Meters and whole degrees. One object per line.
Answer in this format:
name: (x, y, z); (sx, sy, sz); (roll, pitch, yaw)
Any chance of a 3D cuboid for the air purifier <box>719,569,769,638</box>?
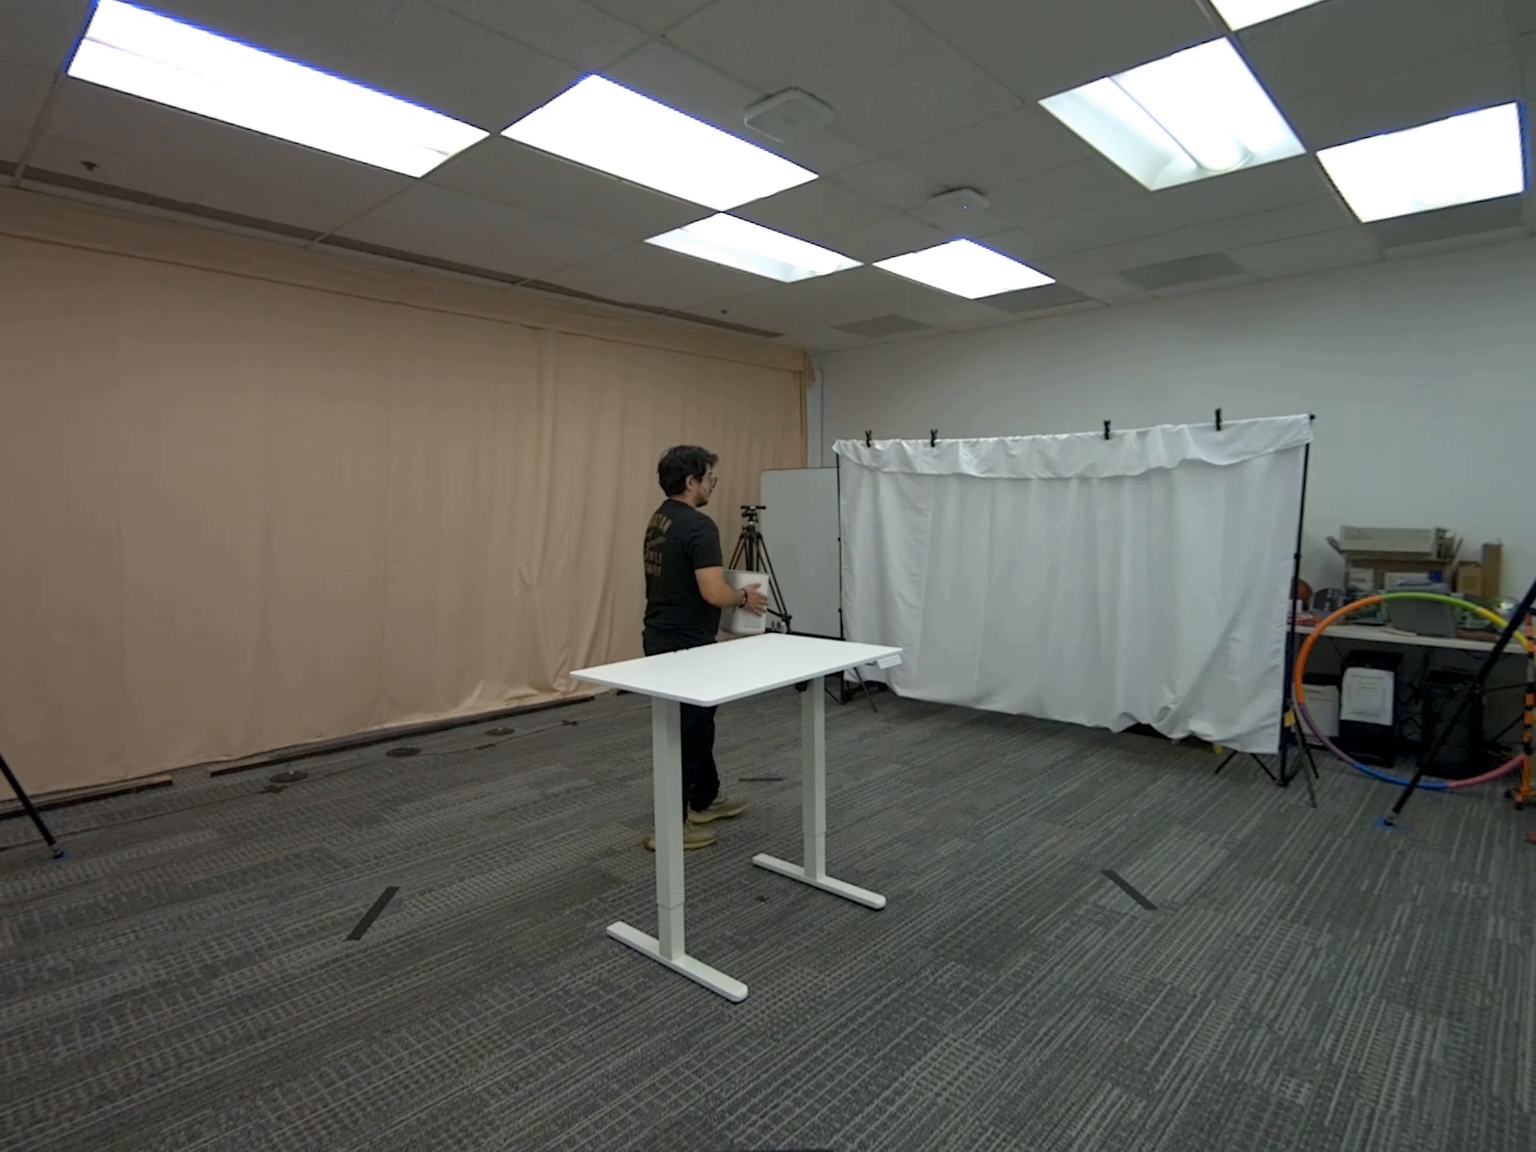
air purifier: (-0.100, 0.113, 3.564); (0.167, 0.265, 0.176); (4, 2, -29)
